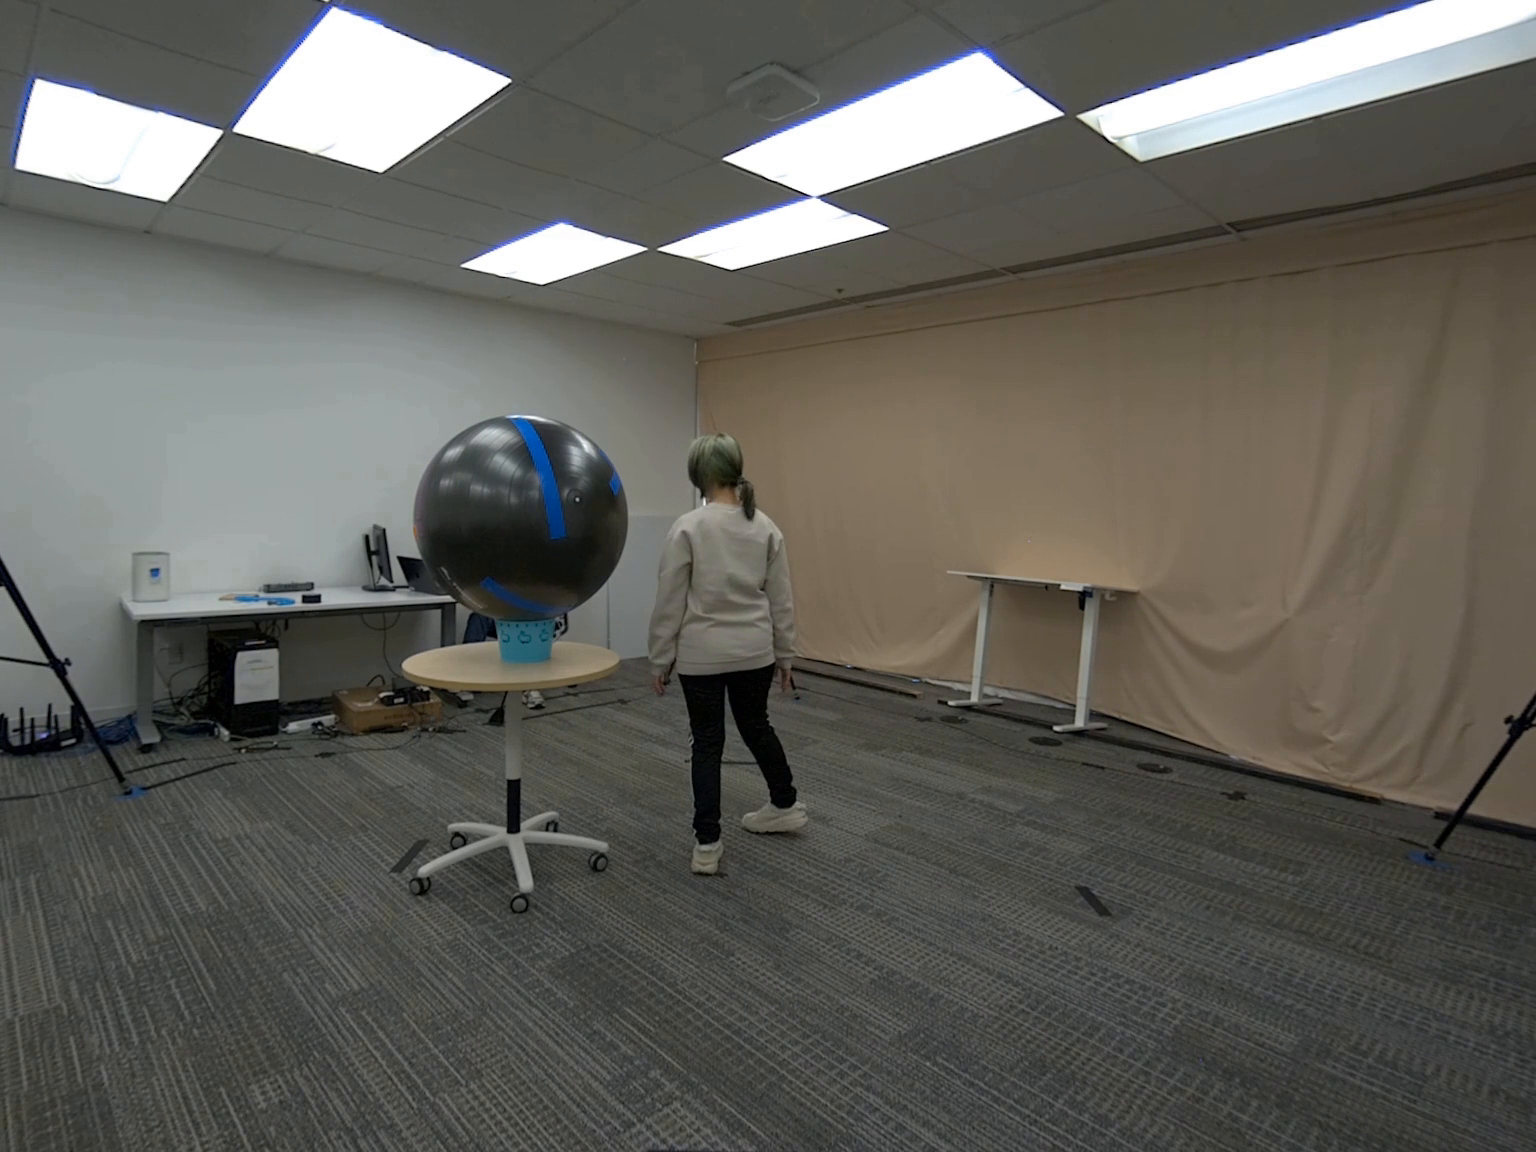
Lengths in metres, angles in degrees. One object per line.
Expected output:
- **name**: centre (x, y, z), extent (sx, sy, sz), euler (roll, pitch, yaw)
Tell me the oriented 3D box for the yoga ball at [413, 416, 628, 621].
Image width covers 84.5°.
- **yoga ball**: centre (-0.906, -0.205, 3.078), extent (0.757, 0.756, 0.761), euler (1, 4, -1)
